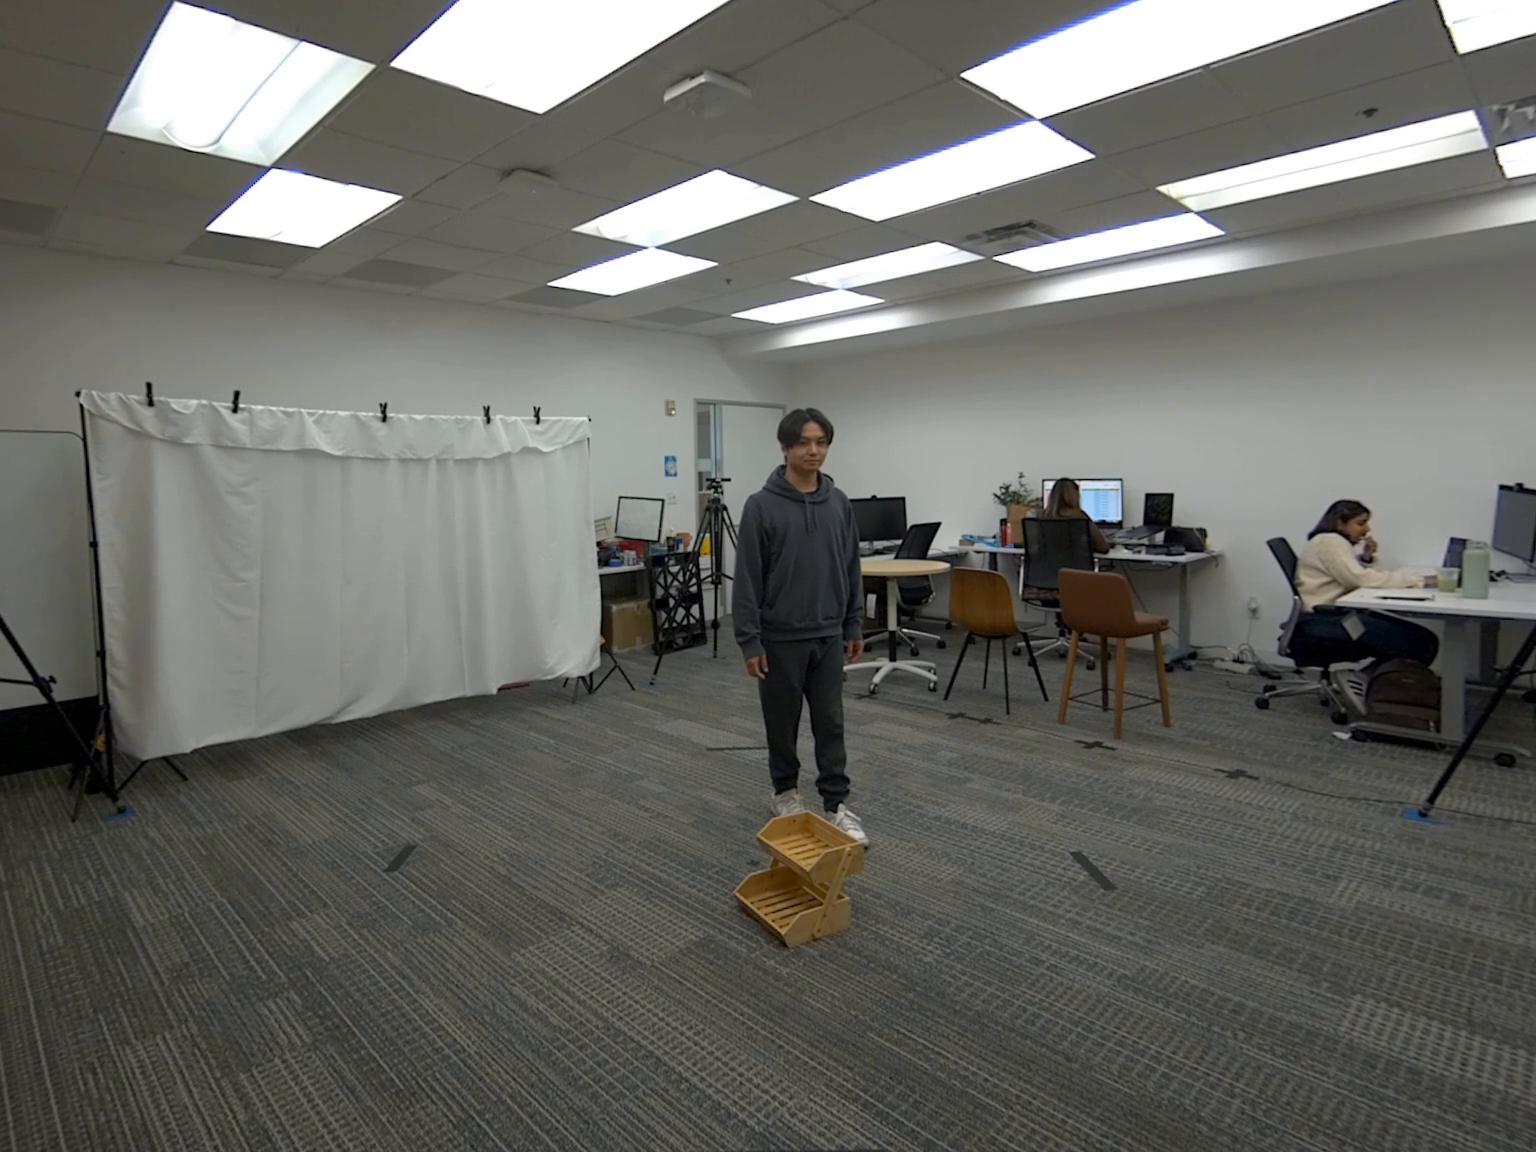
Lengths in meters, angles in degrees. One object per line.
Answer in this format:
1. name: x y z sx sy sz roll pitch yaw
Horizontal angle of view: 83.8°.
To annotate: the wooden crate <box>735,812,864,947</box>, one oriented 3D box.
1. wooden crate: 0.091 0.953 2.726 0.295 0.272 0.334 -4 6 -31
